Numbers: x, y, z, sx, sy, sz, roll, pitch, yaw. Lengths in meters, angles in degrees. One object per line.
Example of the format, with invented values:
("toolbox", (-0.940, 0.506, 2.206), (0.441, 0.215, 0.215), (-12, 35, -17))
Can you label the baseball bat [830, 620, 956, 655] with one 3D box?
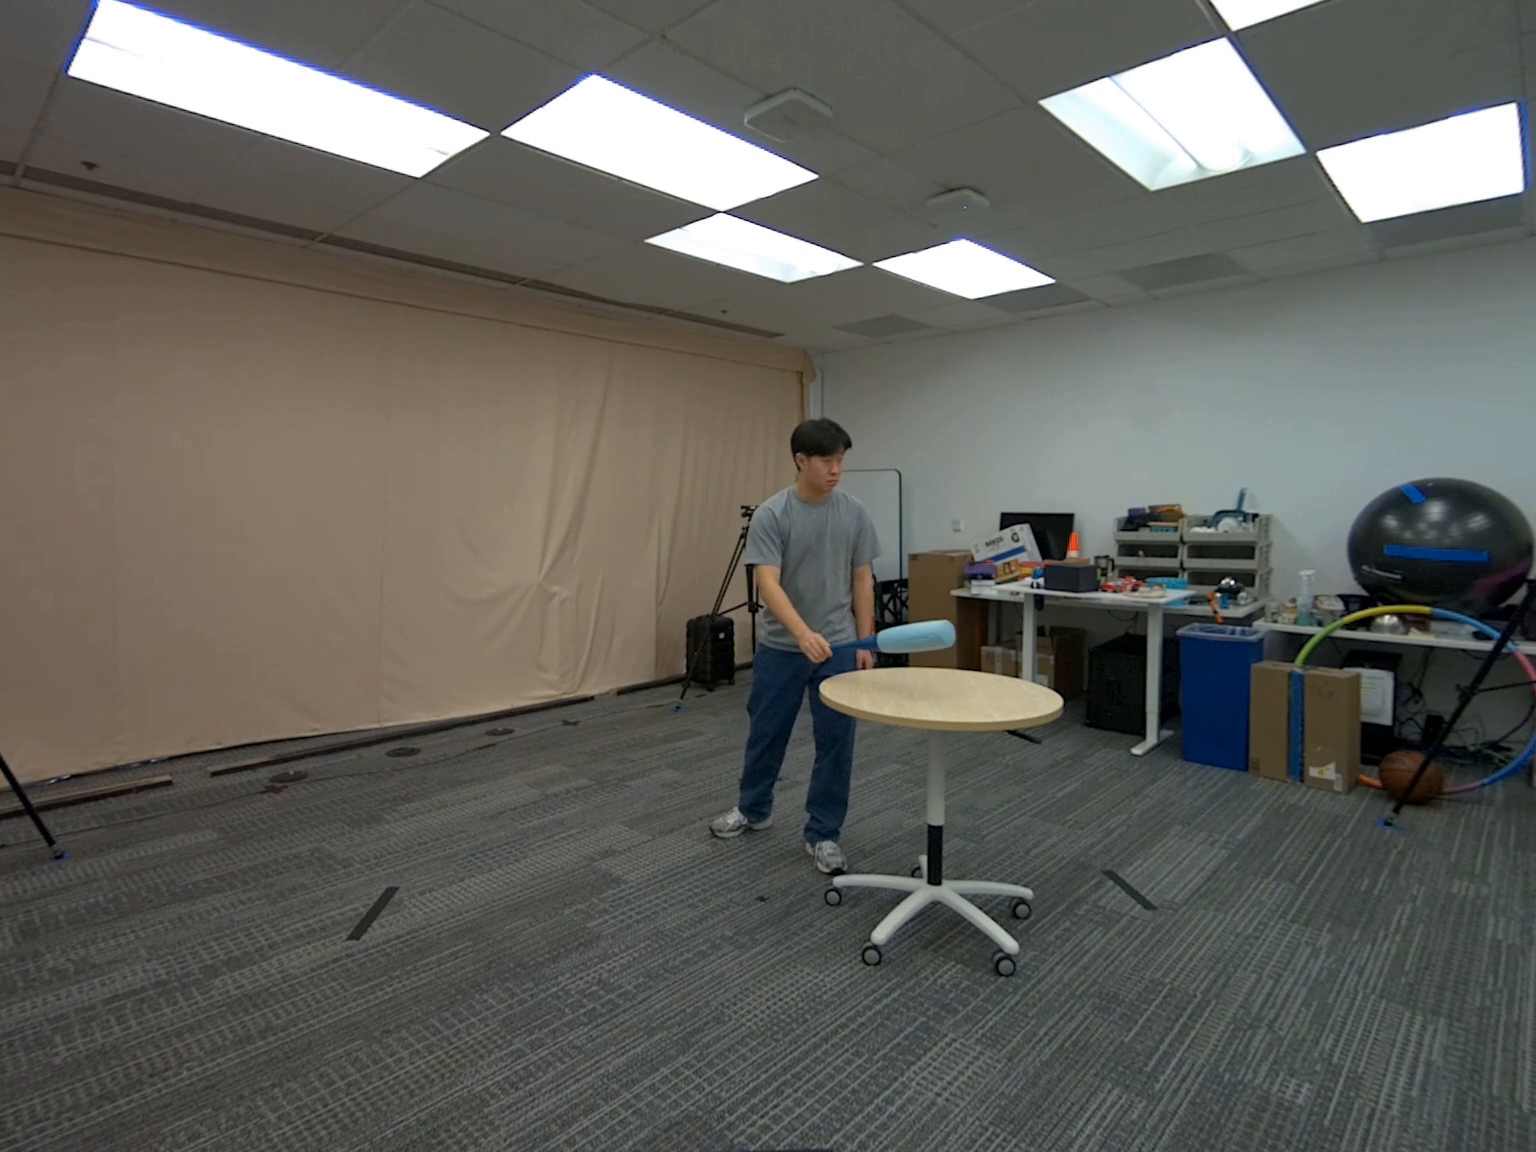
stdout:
("baseball bat", (0.352, 0.227, 2.755), (0.086, 0.089, 0.557), (-3, -8, -40))
